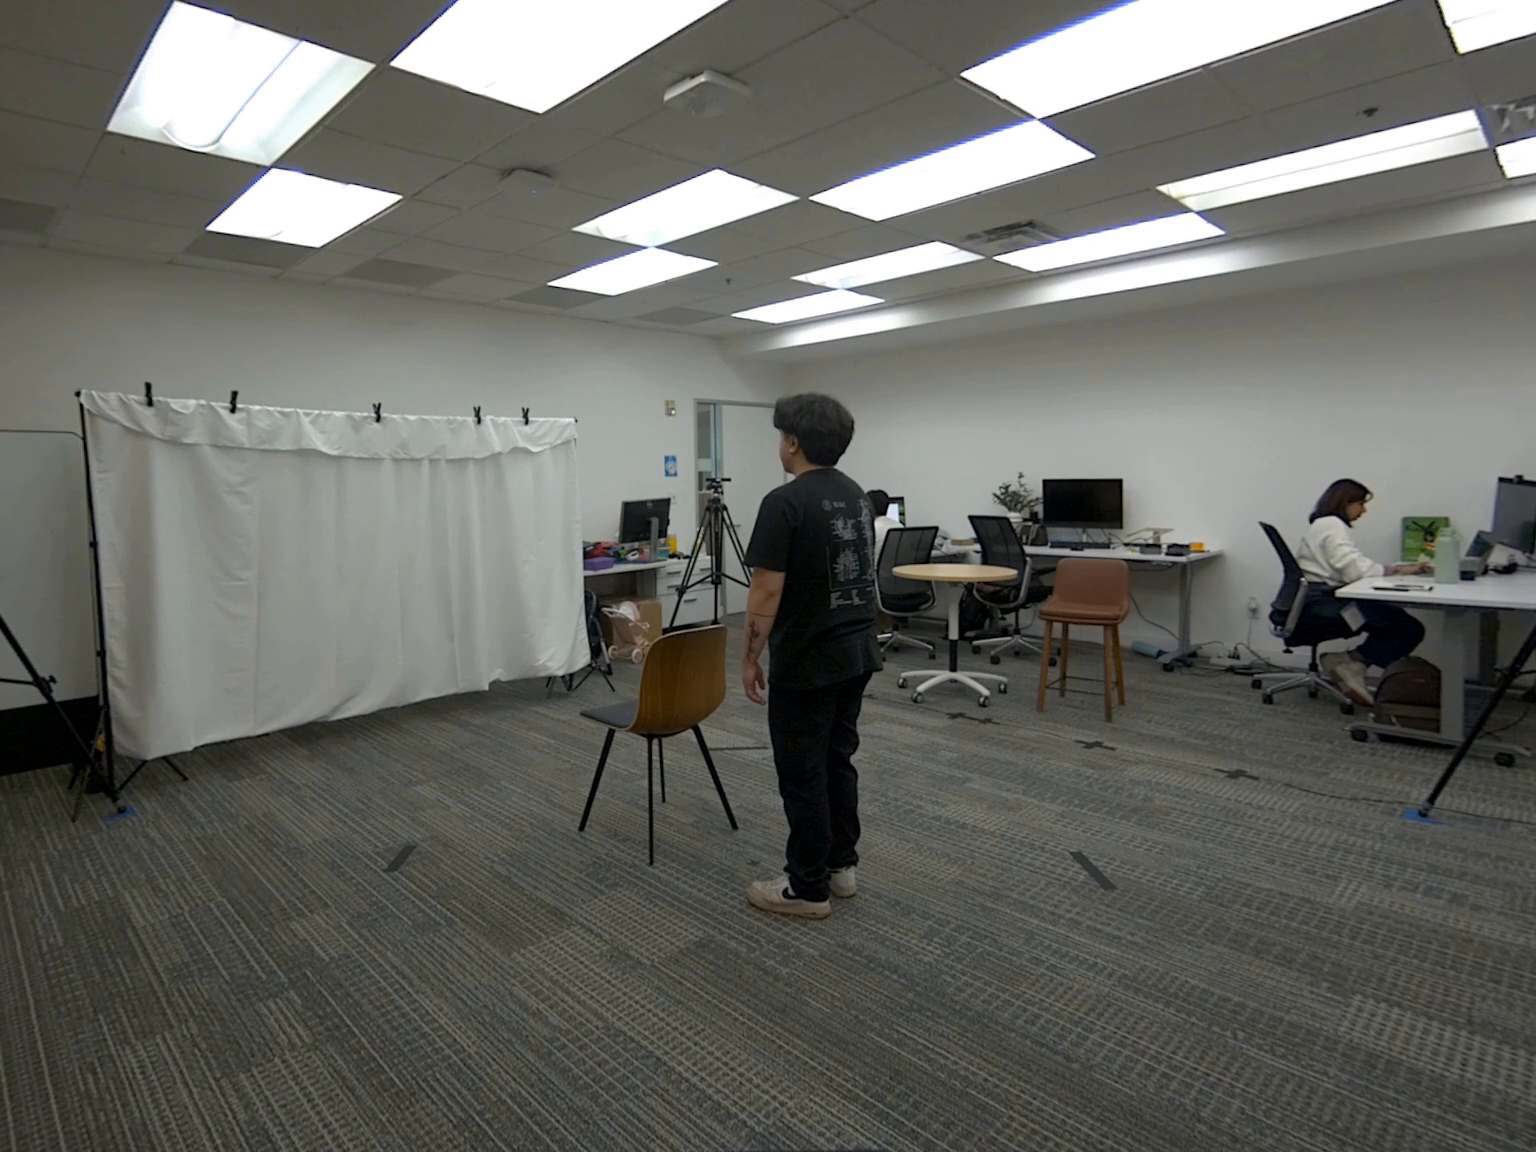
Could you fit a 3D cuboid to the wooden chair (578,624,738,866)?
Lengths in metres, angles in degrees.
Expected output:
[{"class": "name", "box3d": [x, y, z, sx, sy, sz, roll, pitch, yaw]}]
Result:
[{"class": "wooden chair", "box3d": [-0.452, 0.590, 3.389, 0.540, 0.872, 0.465, 9, 10, 43]}]
